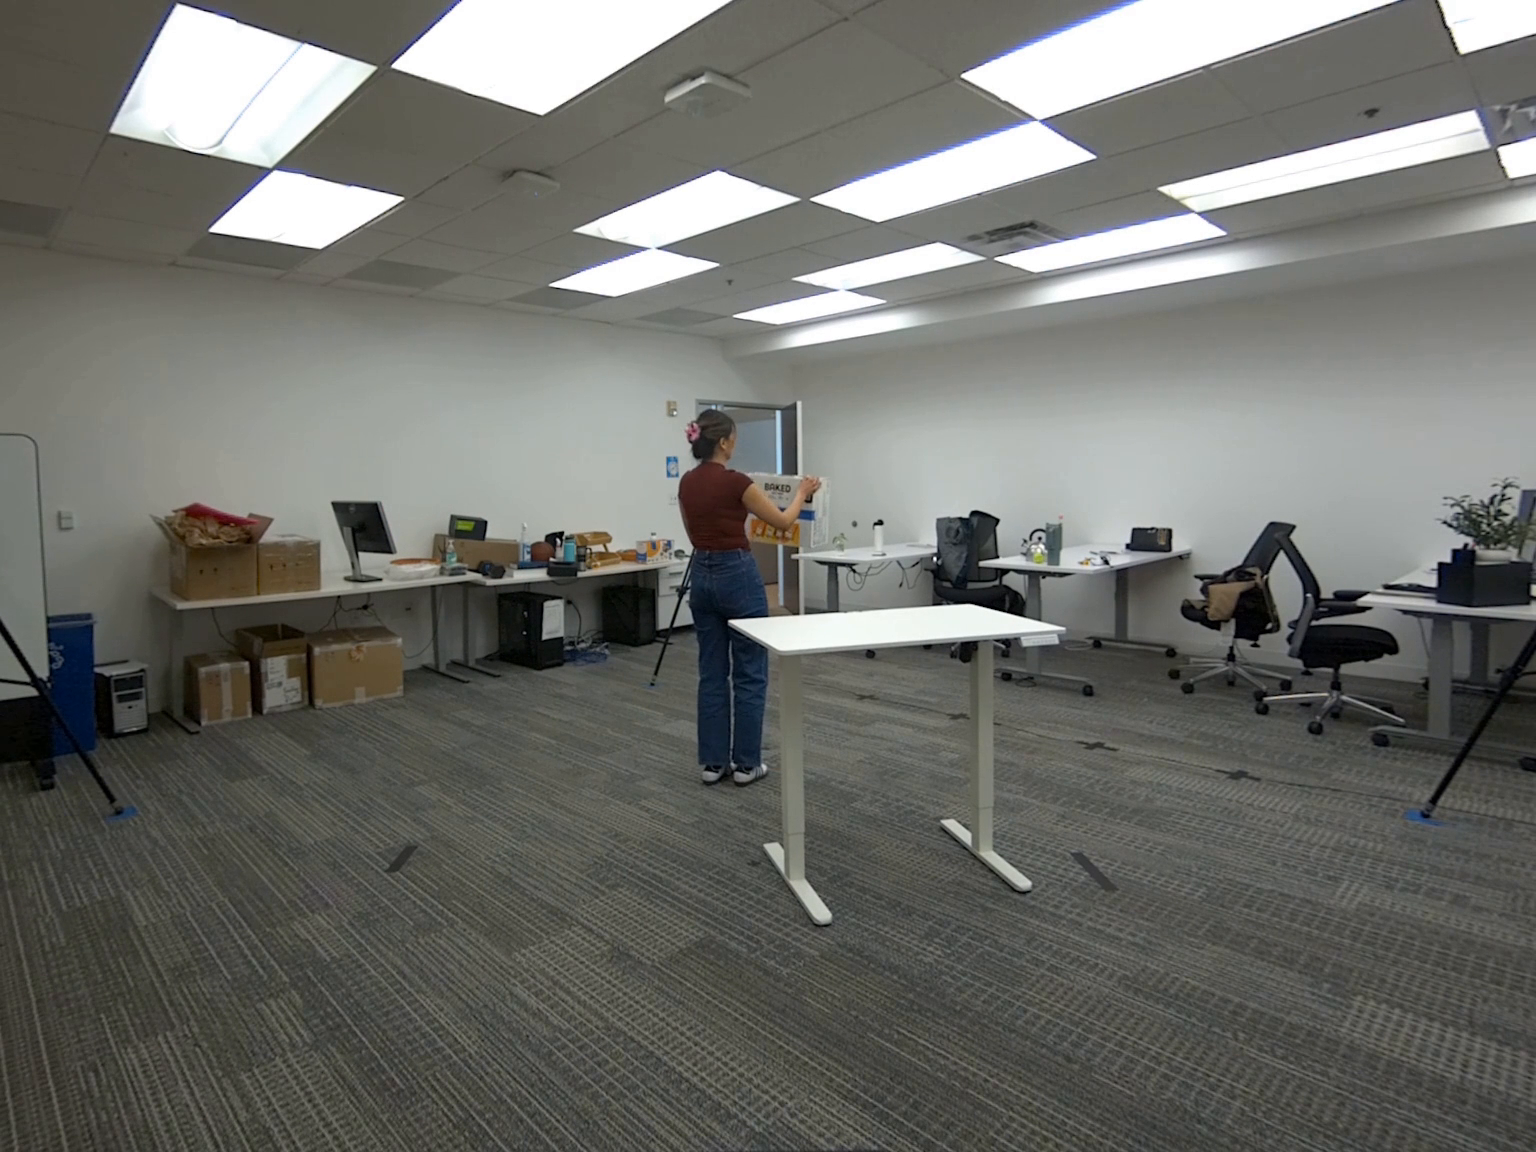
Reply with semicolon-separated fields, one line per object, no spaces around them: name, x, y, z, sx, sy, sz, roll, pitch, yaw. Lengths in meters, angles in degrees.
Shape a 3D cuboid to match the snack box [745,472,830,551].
snack box;0.091;-0.343;4.360;0.417;0.337;0.202;8;12;30
